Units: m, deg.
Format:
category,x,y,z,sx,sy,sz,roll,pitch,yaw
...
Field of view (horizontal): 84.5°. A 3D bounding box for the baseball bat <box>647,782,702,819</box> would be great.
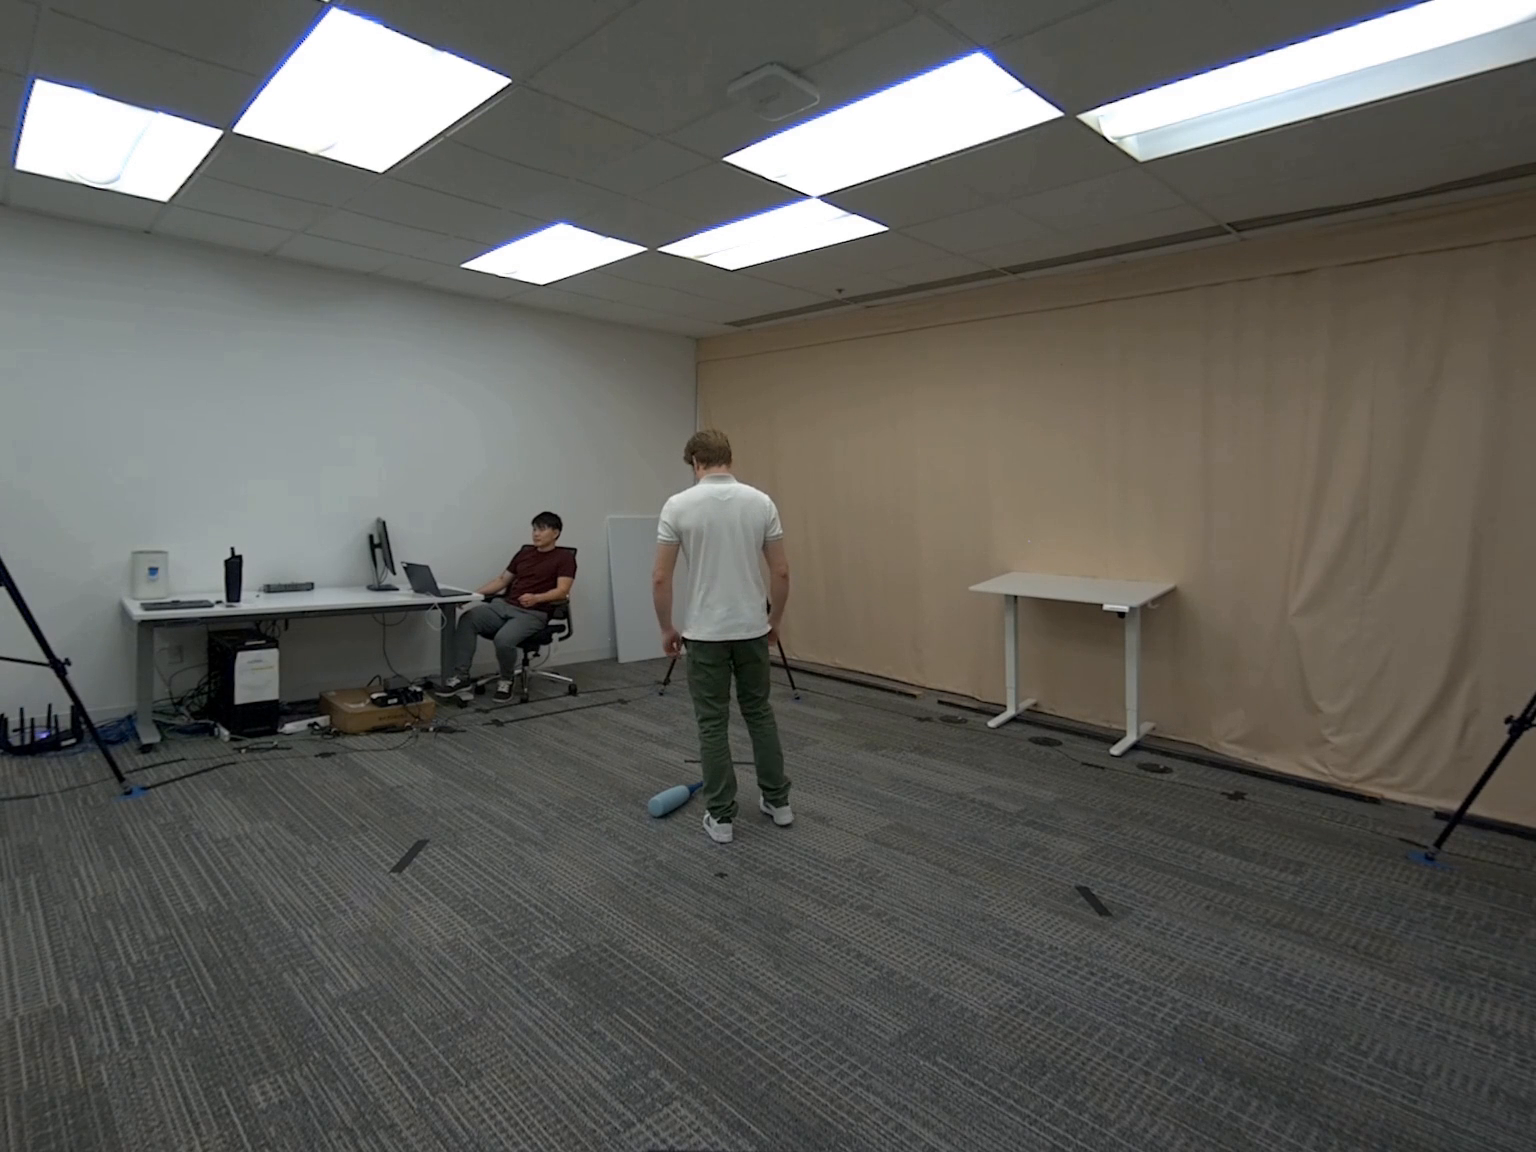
category,x,y,z,sx,sy,sz,roll,pitch,yaw
baseball bat,-0.389,0.996,3.876,0.091,0.089,0.533,3,2,23
